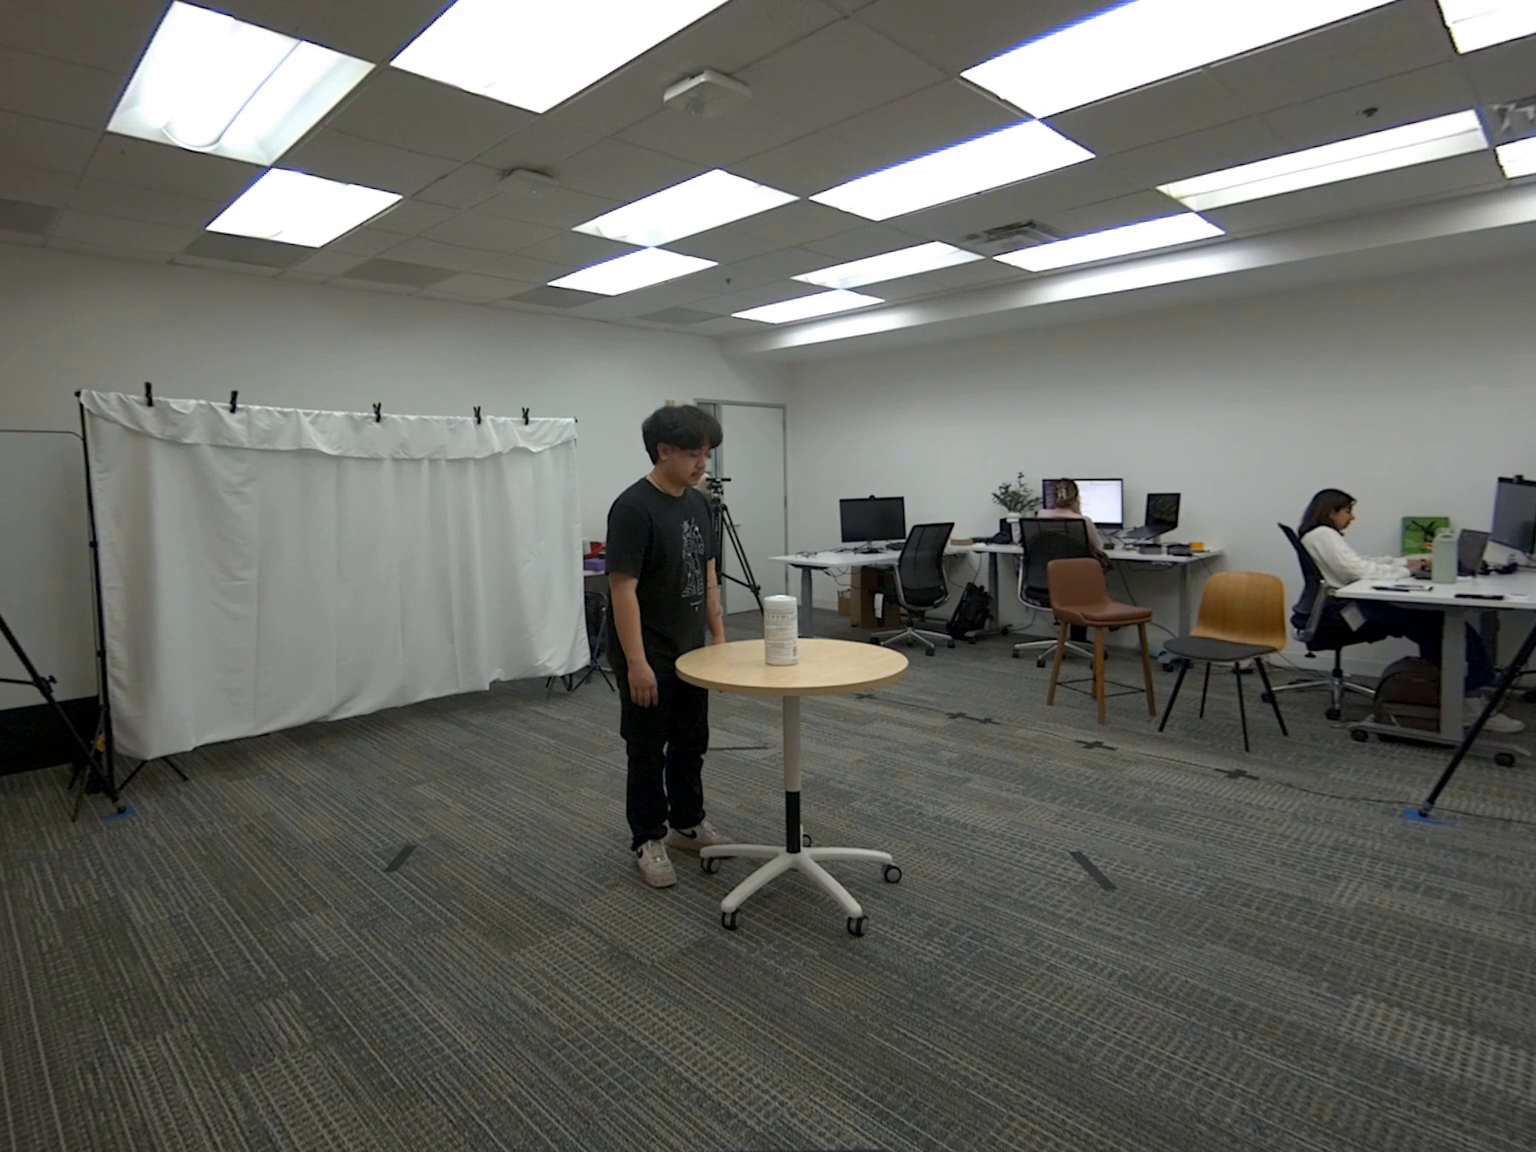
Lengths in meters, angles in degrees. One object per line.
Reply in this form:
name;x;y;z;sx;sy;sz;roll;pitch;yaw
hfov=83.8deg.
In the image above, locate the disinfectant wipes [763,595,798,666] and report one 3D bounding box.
disinfectant wipes;0.045;0.173;2.791;0.118;0.217;0.118;0;3;-2
